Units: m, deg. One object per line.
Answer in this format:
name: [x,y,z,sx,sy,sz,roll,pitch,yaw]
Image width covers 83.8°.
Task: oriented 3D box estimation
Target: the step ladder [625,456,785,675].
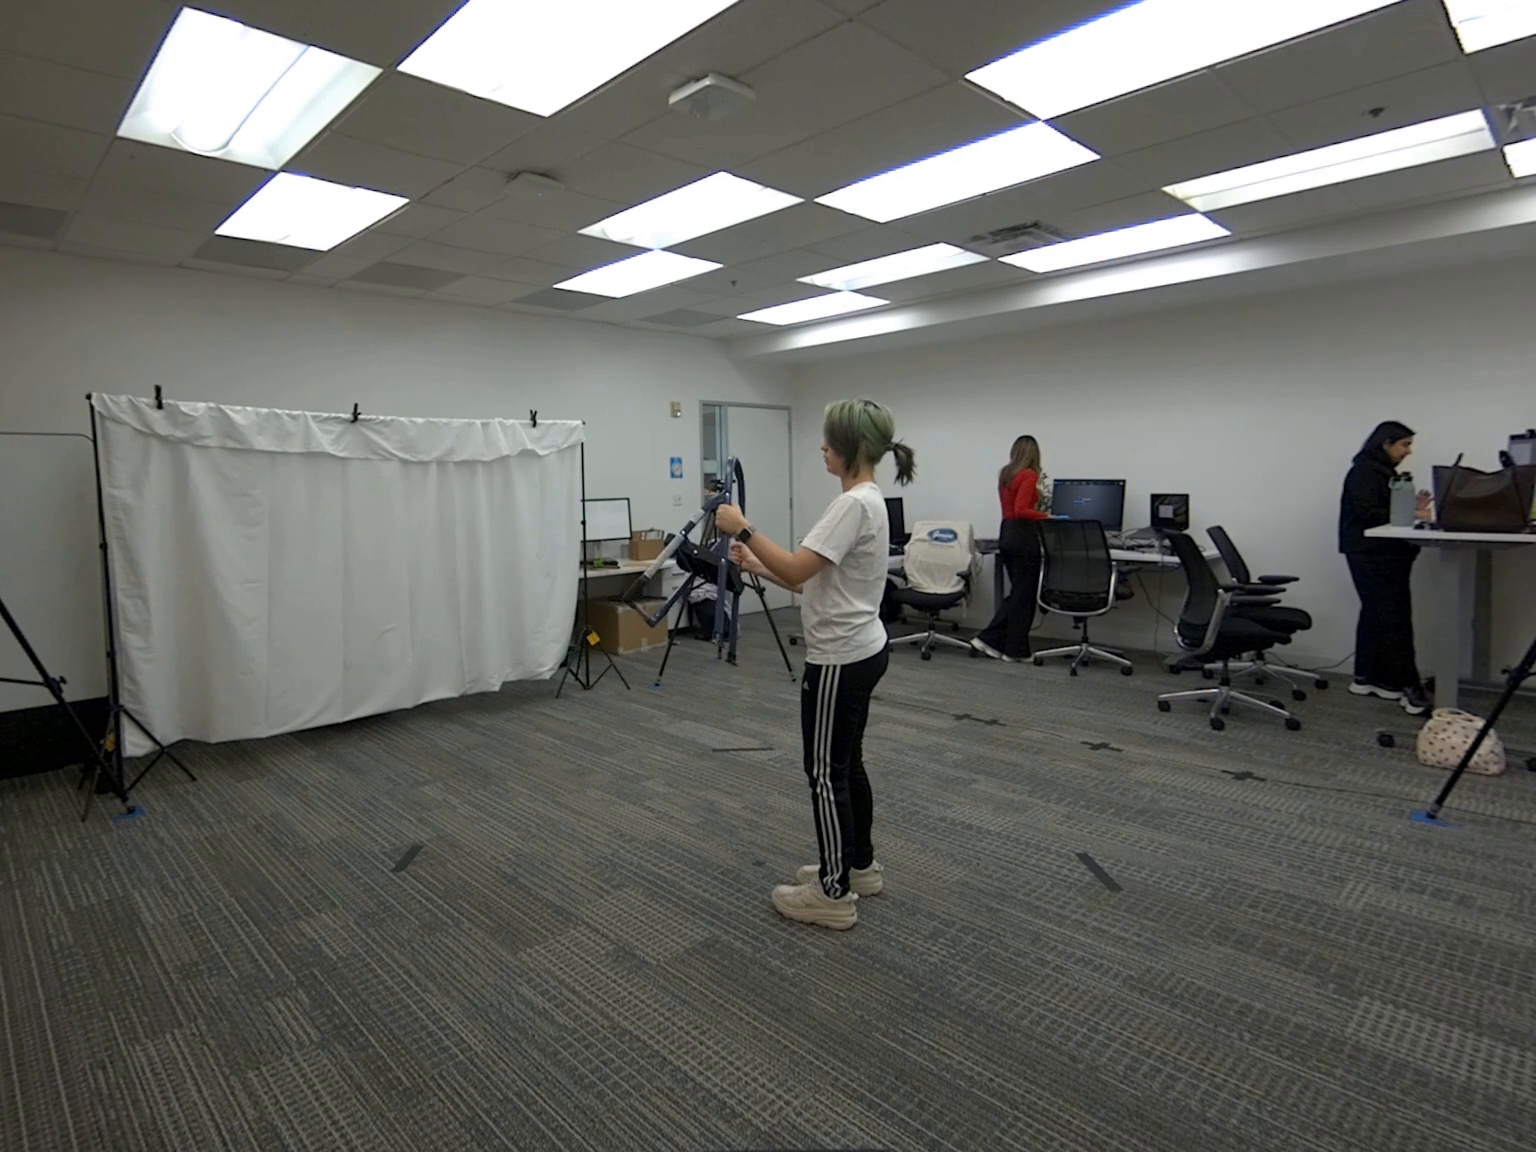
step ladder: [-0.155,-0.081,2.823,0.354,0.609,0.422,21,-14,10]
